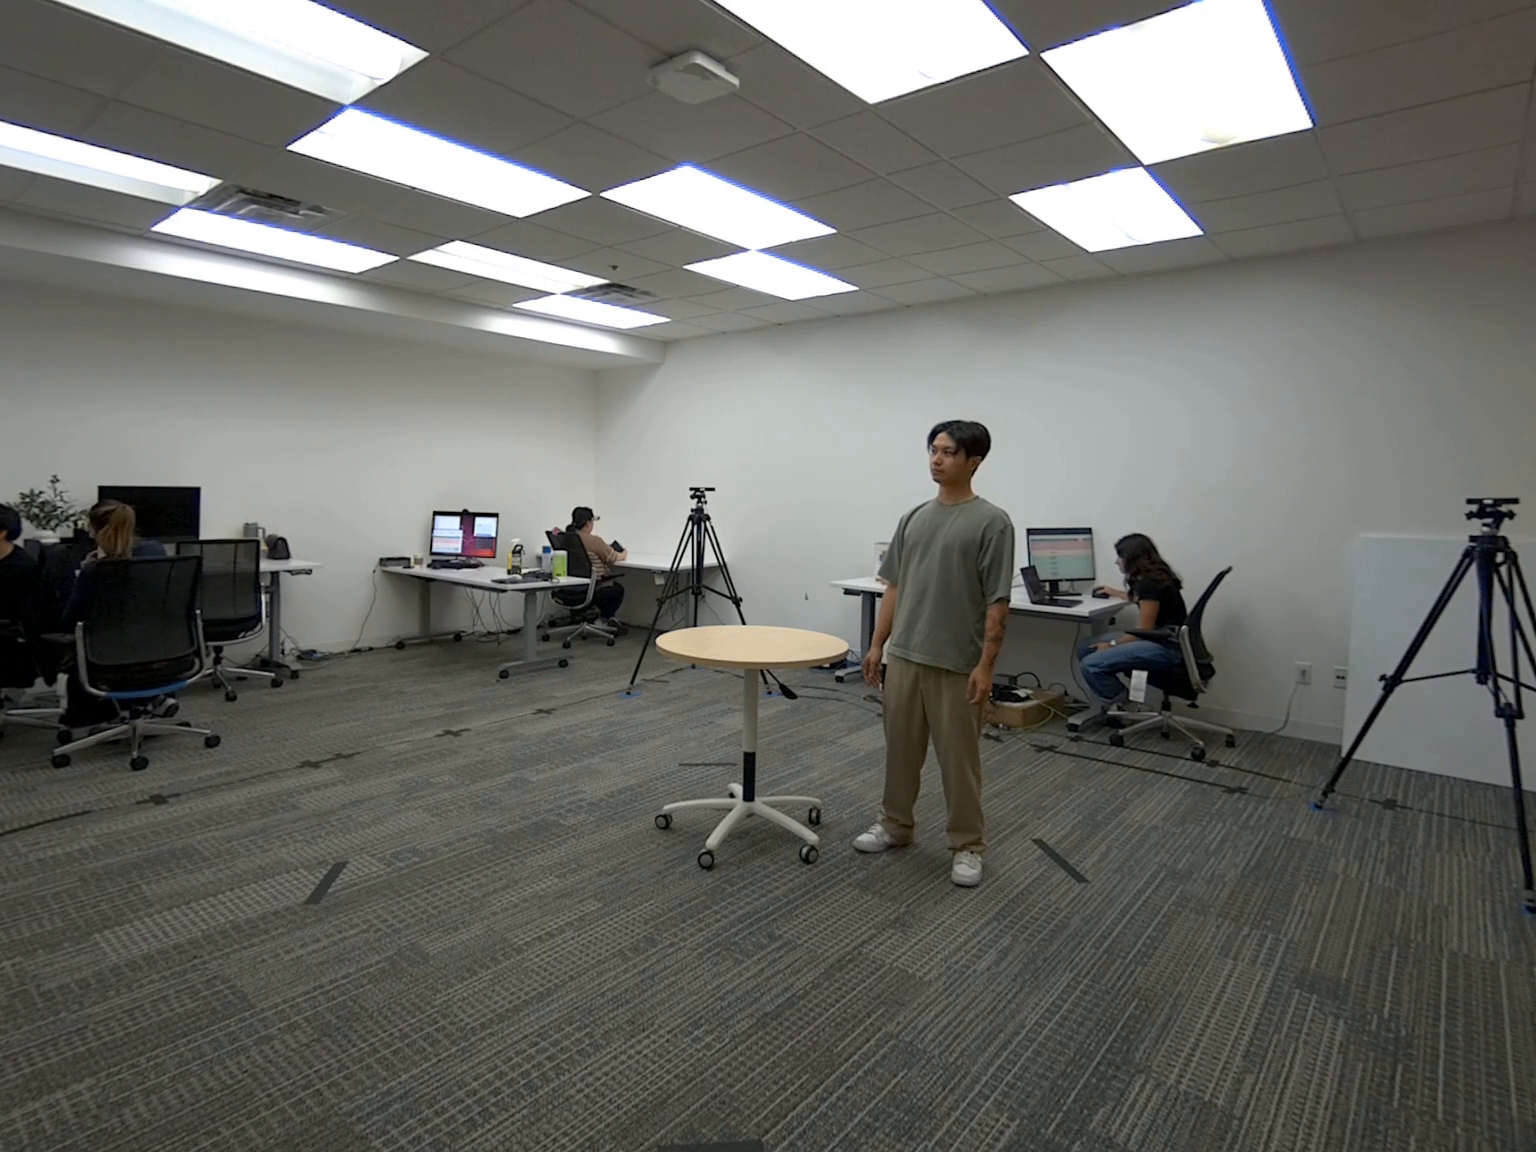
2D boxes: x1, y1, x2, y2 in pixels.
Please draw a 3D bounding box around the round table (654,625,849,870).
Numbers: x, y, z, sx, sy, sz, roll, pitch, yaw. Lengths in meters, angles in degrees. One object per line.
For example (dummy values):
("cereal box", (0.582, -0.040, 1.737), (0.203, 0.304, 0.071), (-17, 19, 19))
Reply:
("round table", (-0.085, 0.653, 3.418), (0.763, 0.791, 0.768), (1, 4, -2))
